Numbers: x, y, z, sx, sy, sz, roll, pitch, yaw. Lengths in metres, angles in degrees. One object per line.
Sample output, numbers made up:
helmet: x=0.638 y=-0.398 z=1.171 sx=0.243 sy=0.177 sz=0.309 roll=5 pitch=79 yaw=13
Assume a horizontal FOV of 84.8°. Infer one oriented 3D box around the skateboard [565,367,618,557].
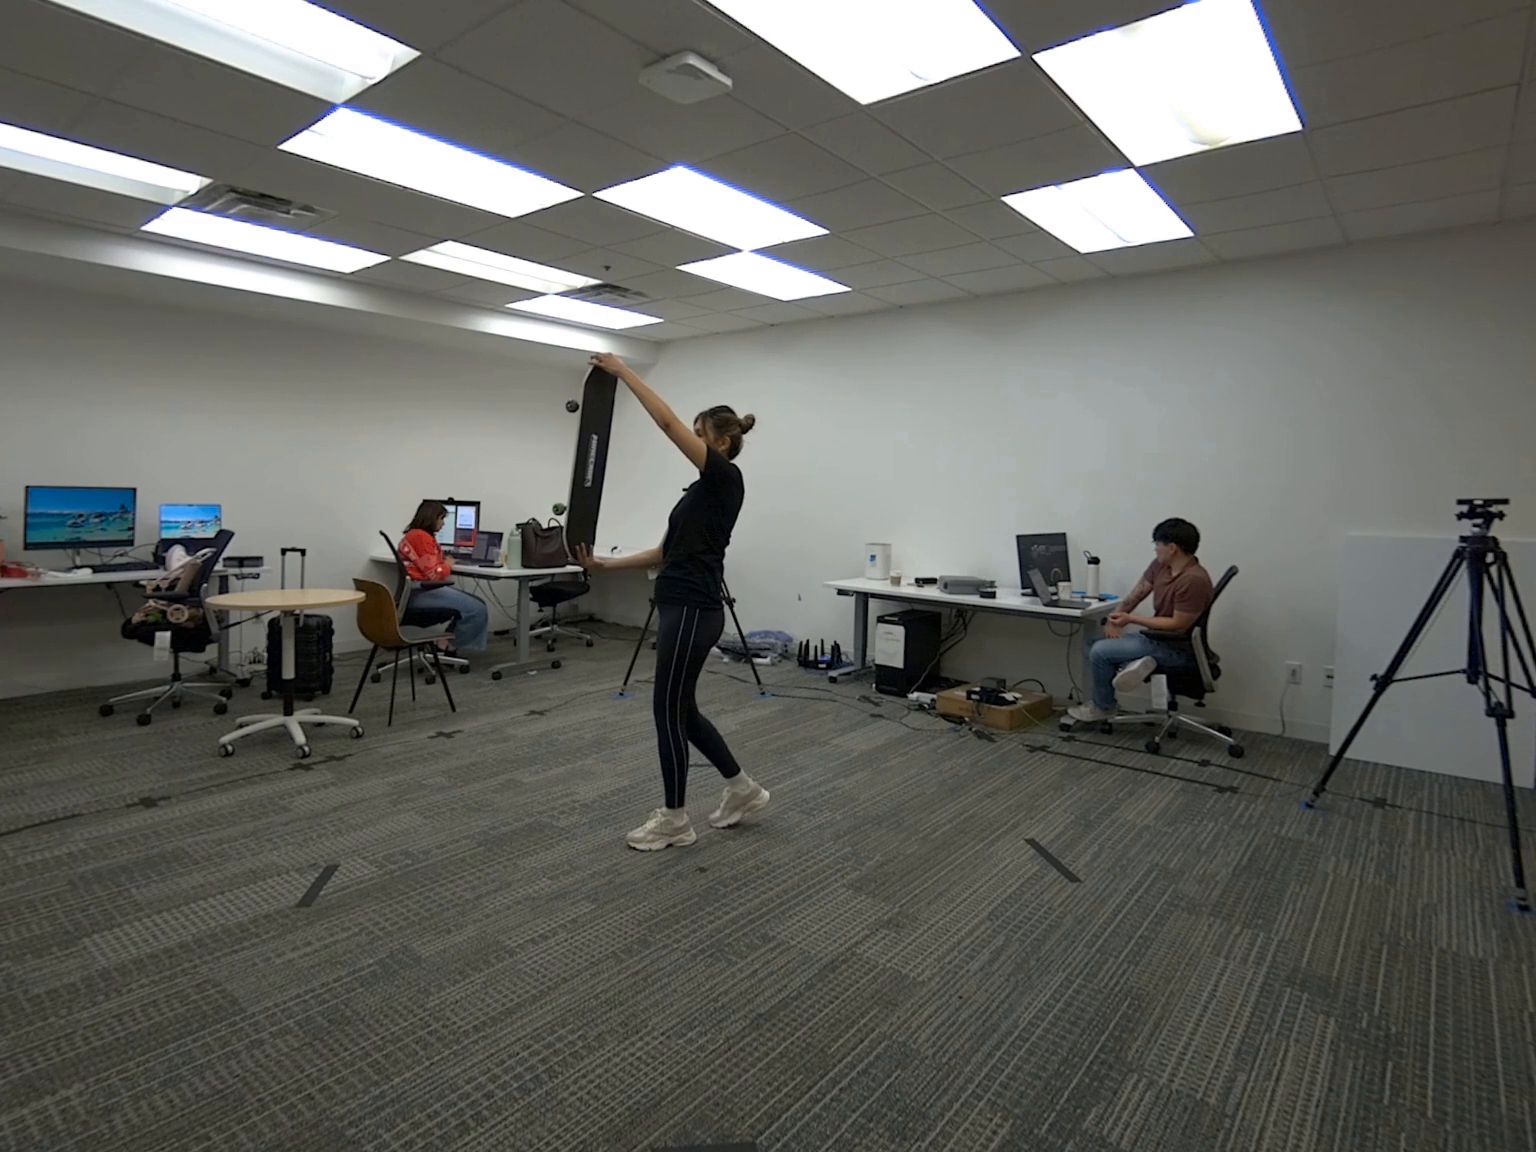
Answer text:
skateboard: x=-0.723 y=-0.449 z=3.286 sx=0.114 sy=0.780 sz=0.189 roll=13 pitch=10 yaw=29
